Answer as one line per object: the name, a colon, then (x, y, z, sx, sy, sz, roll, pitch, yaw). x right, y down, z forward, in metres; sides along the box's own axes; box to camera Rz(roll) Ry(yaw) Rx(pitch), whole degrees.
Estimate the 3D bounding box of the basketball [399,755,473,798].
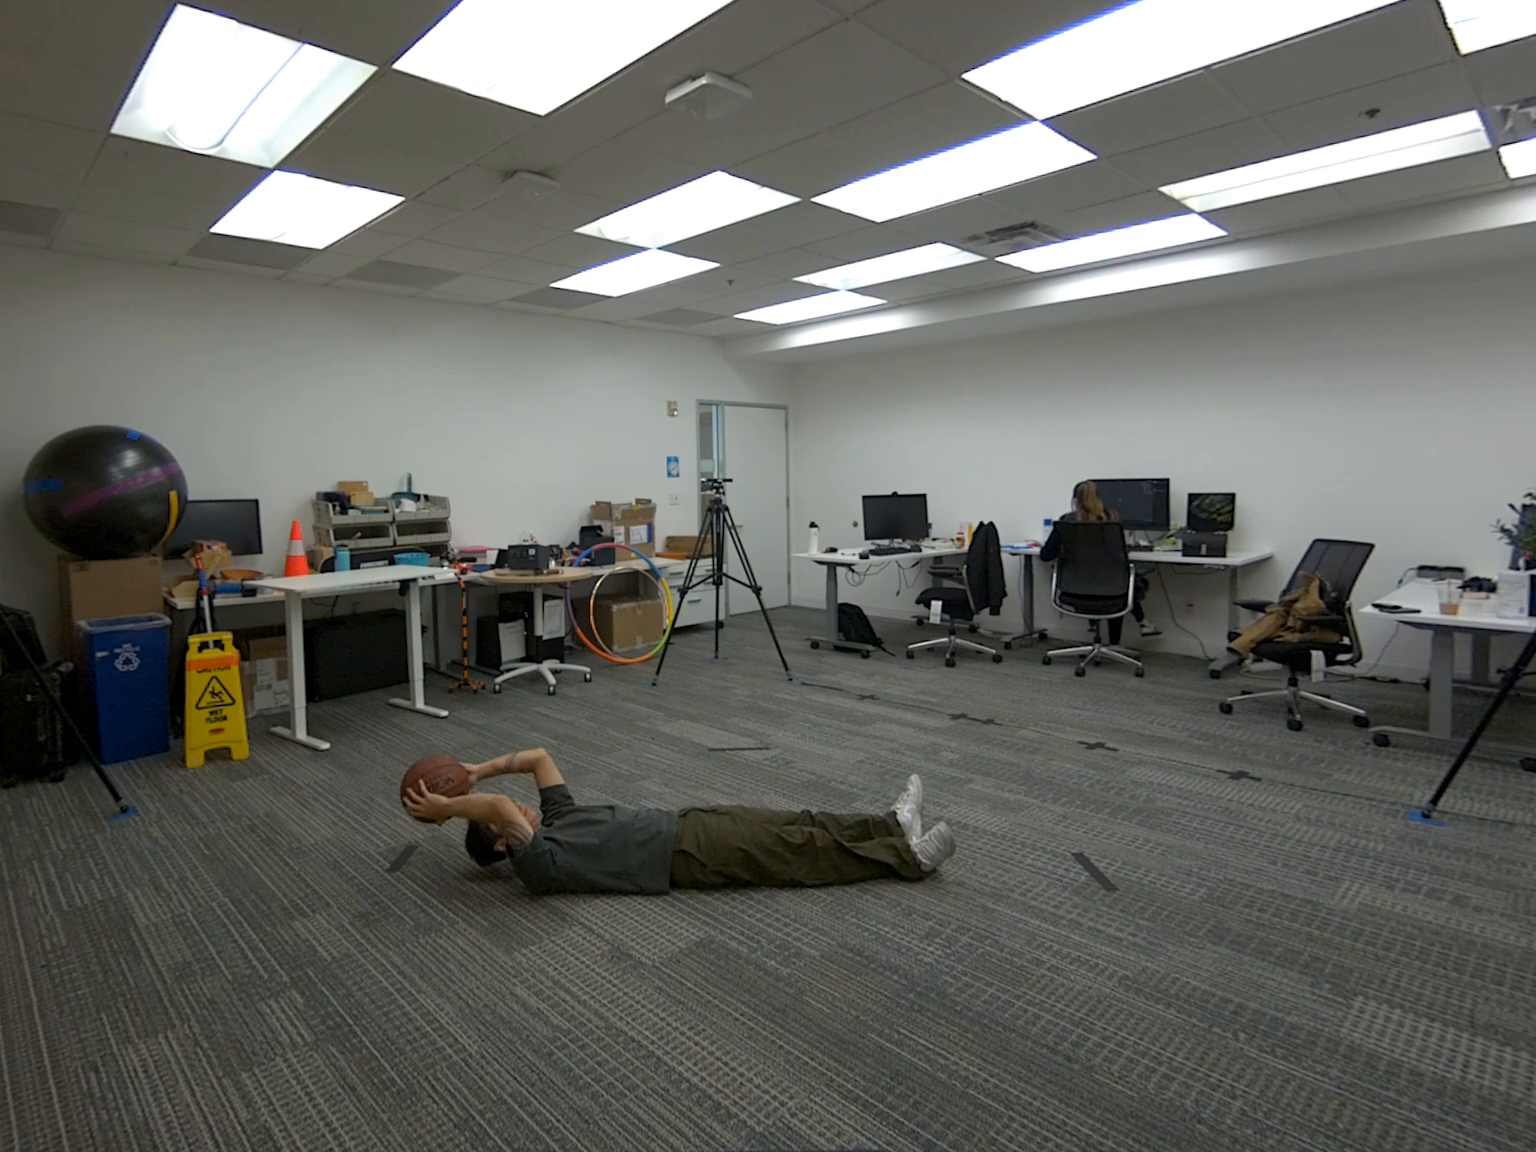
basketball: (-1.181, 0.757, 3.077, 0.236, 0.235, 0.237, -1, 5, -2)
